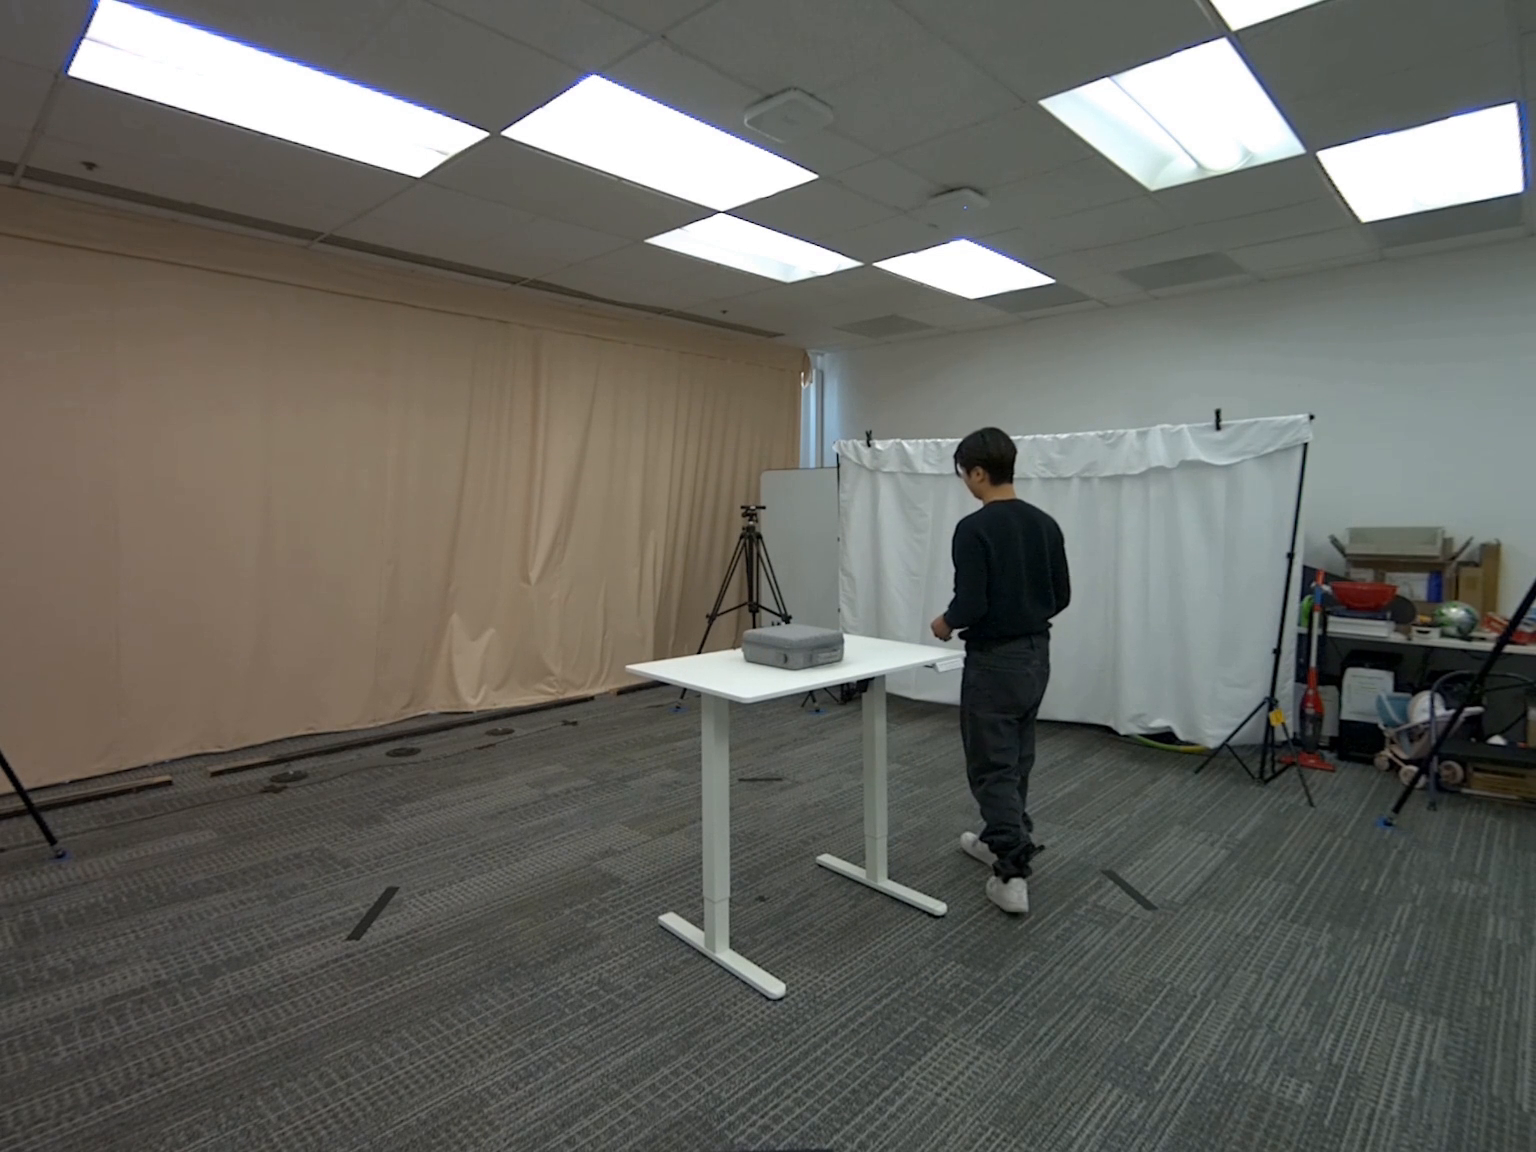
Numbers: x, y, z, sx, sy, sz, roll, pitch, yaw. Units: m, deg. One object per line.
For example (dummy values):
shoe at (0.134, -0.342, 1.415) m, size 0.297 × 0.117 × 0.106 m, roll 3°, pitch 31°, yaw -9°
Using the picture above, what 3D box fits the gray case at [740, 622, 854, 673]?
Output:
gray case at (0.091, 0.226, 2.750) m, size 0.249 × 0.104 × 0.269 m, roll -4°, pitch 6°, yaw -43°
